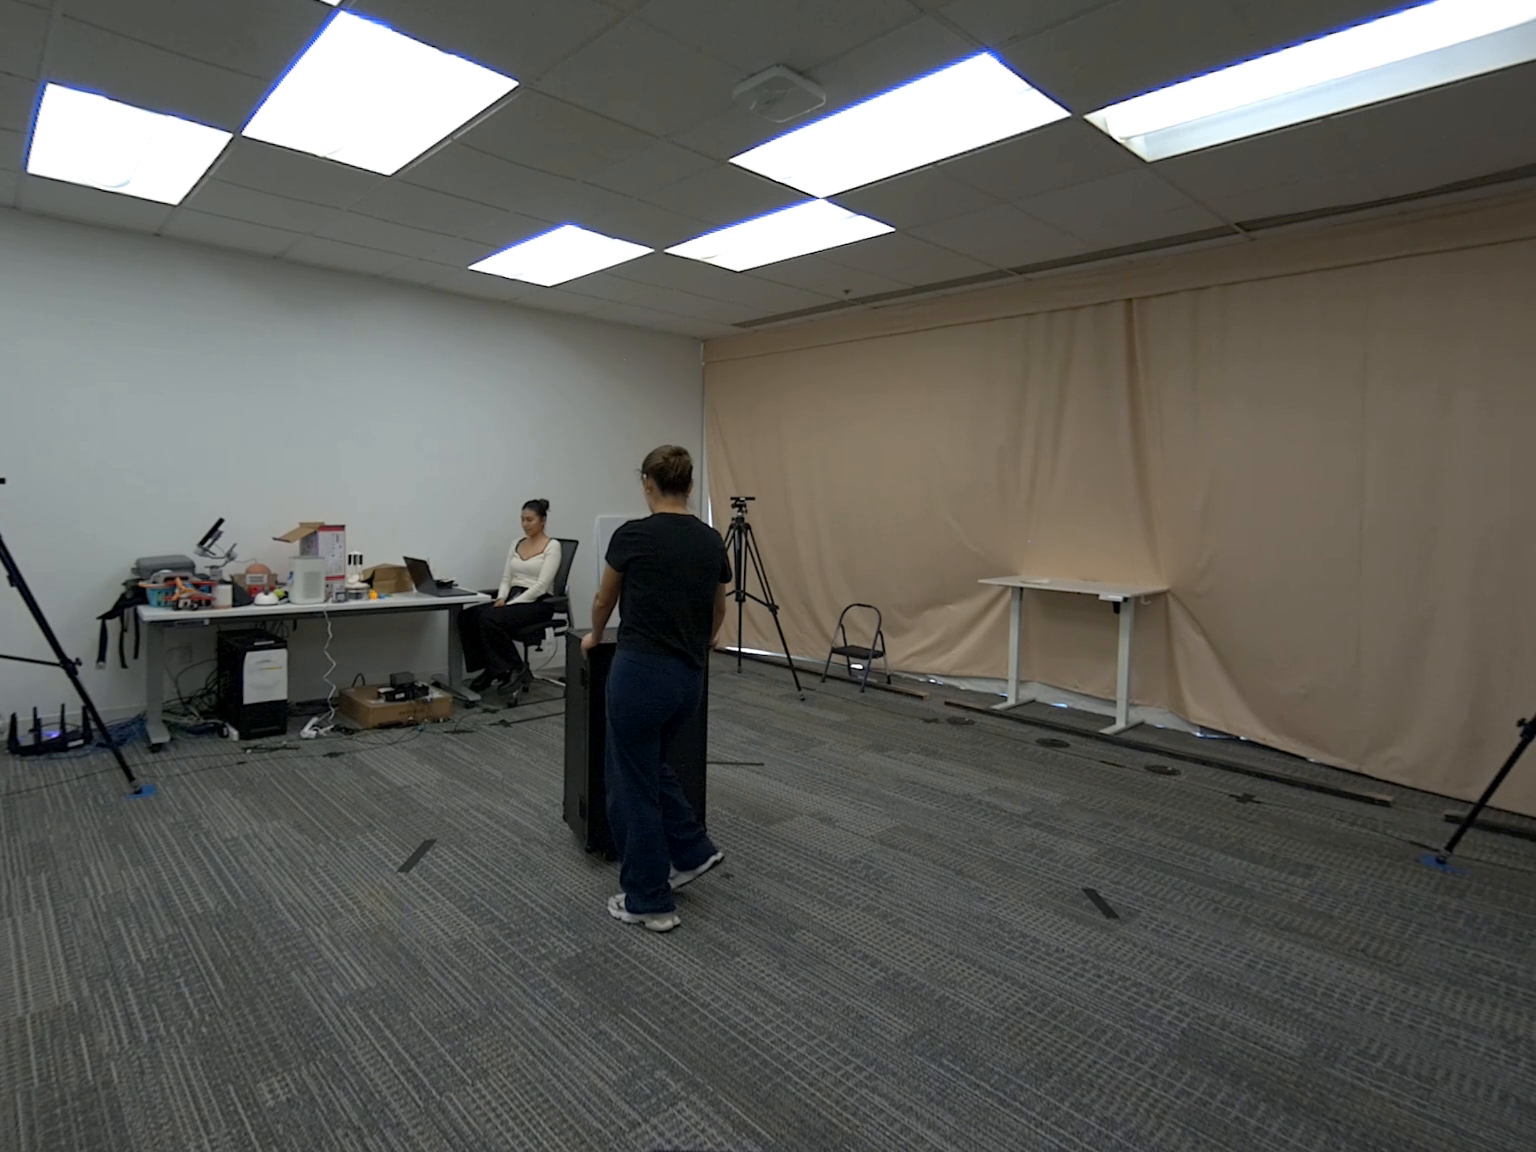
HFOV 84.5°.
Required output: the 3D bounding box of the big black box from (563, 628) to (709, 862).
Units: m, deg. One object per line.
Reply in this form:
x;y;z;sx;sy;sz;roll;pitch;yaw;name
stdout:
-0.544;0.651;3.339;0.511;0.860;0.404;0;3;-27;big black box
